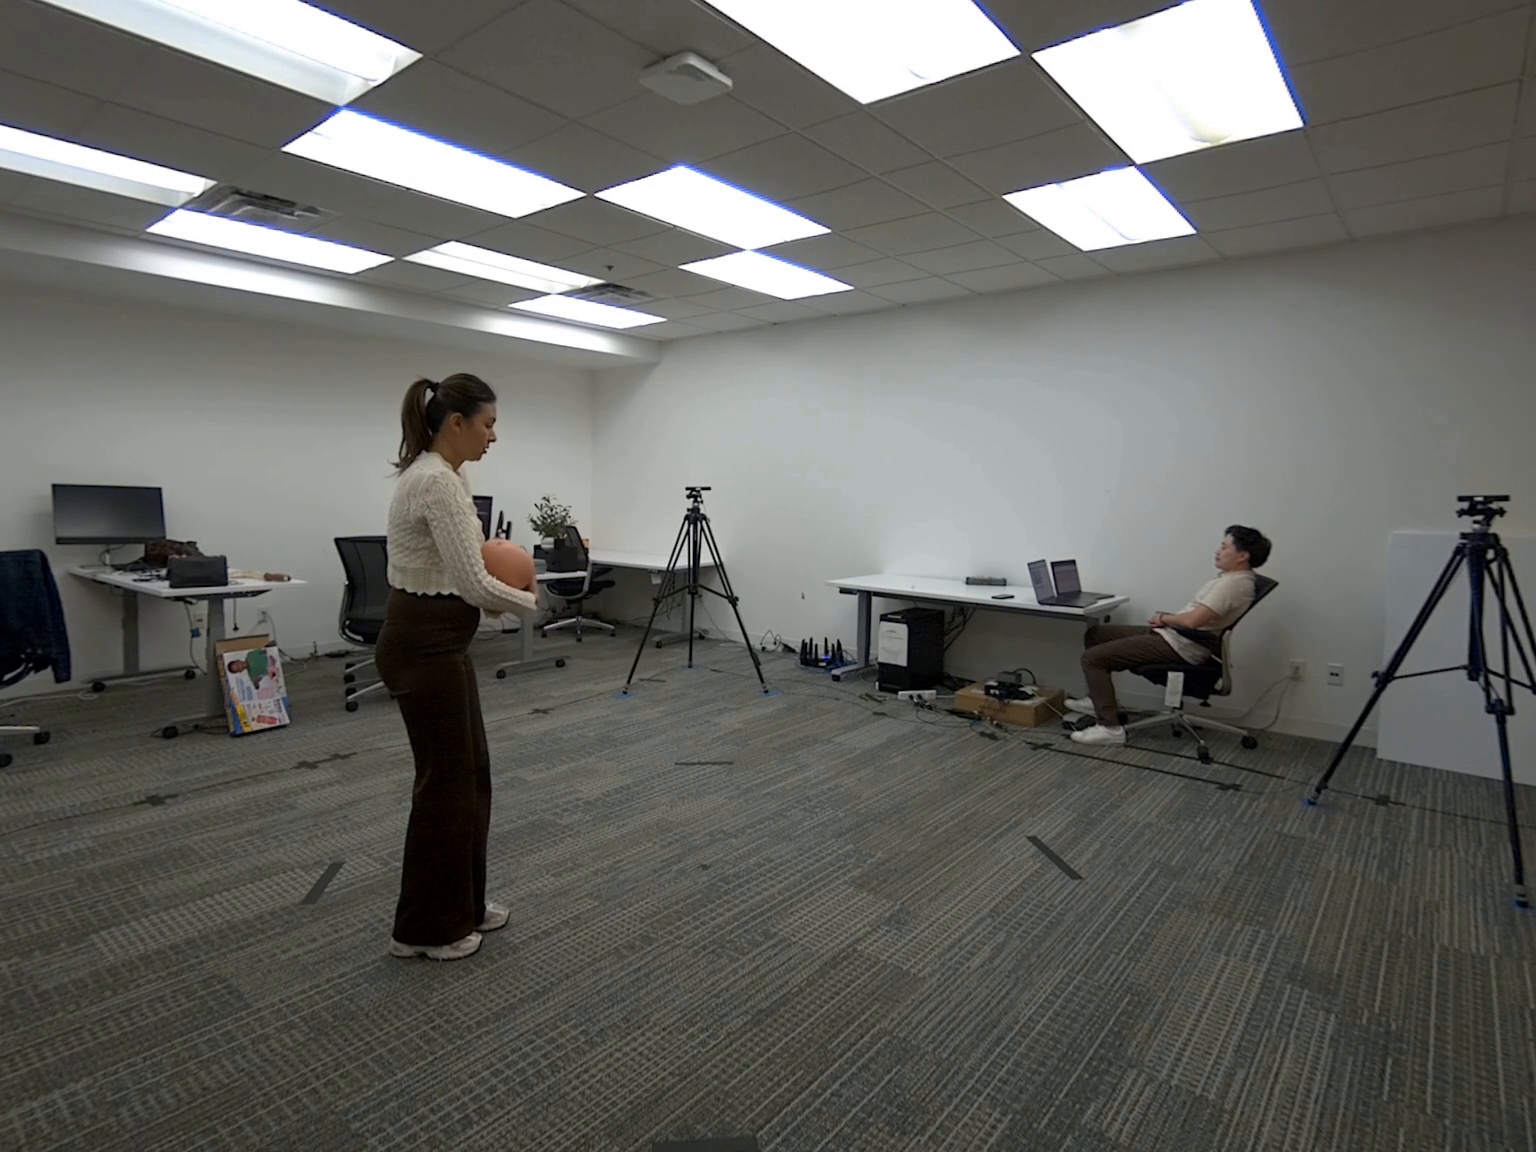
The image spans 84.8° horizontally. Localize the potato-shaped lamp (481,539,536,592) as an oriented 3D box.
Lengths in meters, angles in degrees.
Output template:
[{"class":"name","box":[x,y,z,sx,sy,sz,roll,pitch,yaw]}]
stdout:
[{"class":"potato-shaped lamp","box":[-0.797,-0.026,2.527,0.204,0.173,0.158,-6,-36,44]}]
